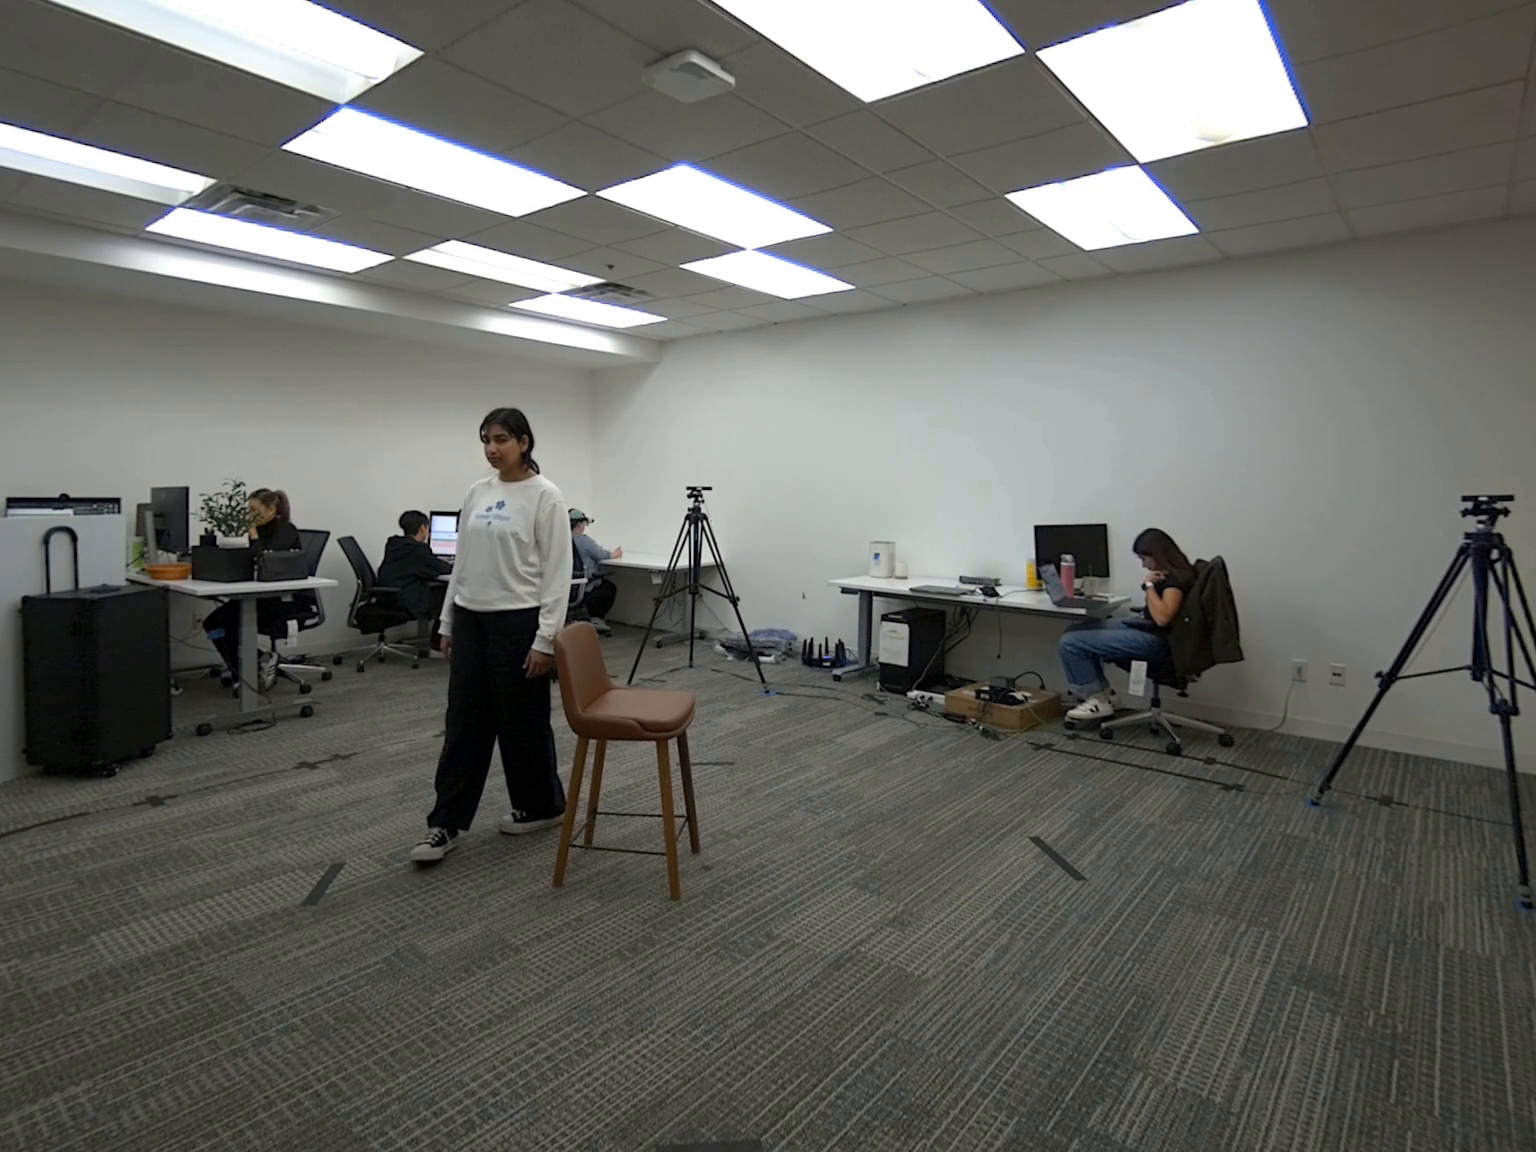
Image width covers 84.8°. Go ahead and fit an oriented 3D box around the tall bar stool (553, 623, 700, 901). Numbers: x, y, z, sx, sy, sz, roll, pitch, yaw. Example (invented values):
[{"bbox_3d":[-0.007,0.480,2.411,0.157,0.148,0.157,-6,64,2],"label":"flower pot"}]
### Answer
[{"bbox_3d":[-0.505,0.630,3.066,0.472,0.887,0.453,0,3,8],"label":"tall bar stool"}]
